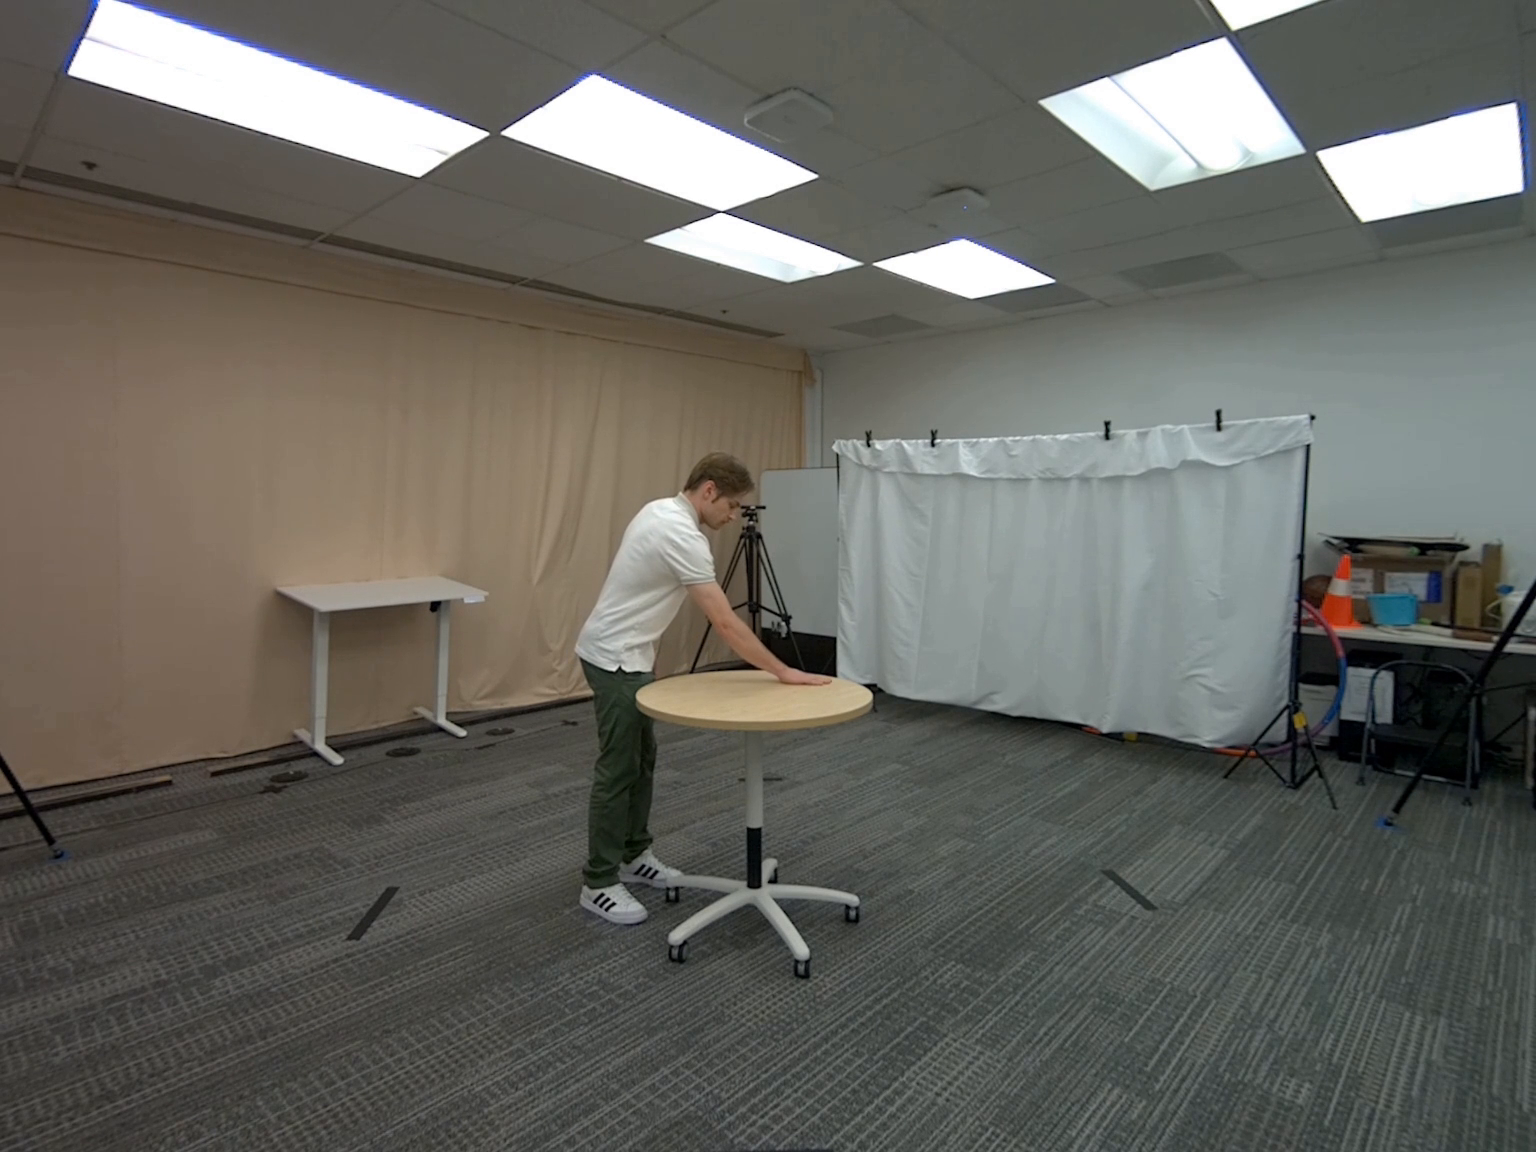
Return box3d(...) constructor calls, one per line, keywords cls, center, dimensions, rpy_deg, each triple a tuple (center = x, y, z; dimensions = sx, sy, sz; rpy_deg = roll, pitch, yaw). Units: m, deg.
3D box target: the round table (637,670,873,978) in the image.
box3d(cls="round table", center=(-0.034, 0.770, 2.743), dimensions=(0.784, 0.785, 0.788), rpy_deg=(-1, 3, -2))
